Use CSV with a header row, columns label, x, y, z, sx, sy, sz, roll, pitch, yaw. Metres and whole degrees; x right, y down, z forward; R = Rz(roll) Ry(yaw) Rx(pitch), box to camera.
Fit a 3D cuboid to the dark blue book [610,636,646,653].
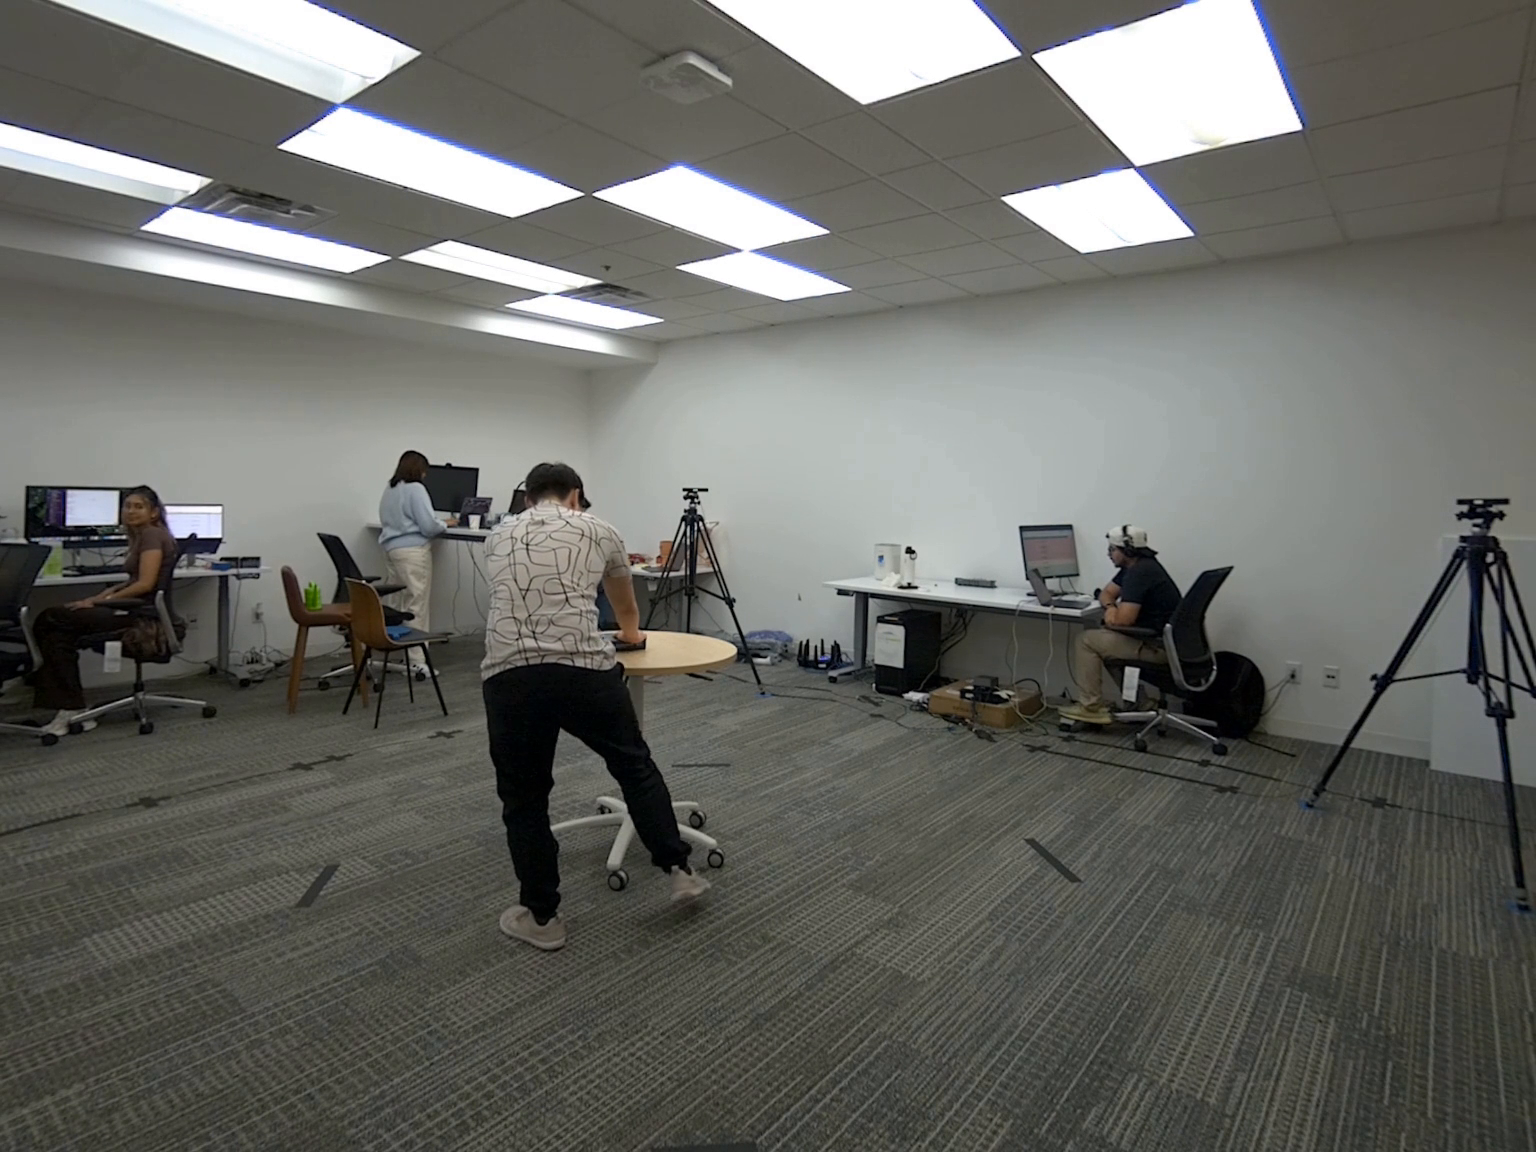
label,x,y,z,sx,sy,sz,roll,pitch,yaw
dark blue book,-0.609,0.251,3.218,0.238,0.045,0.168,-2,7,-30
